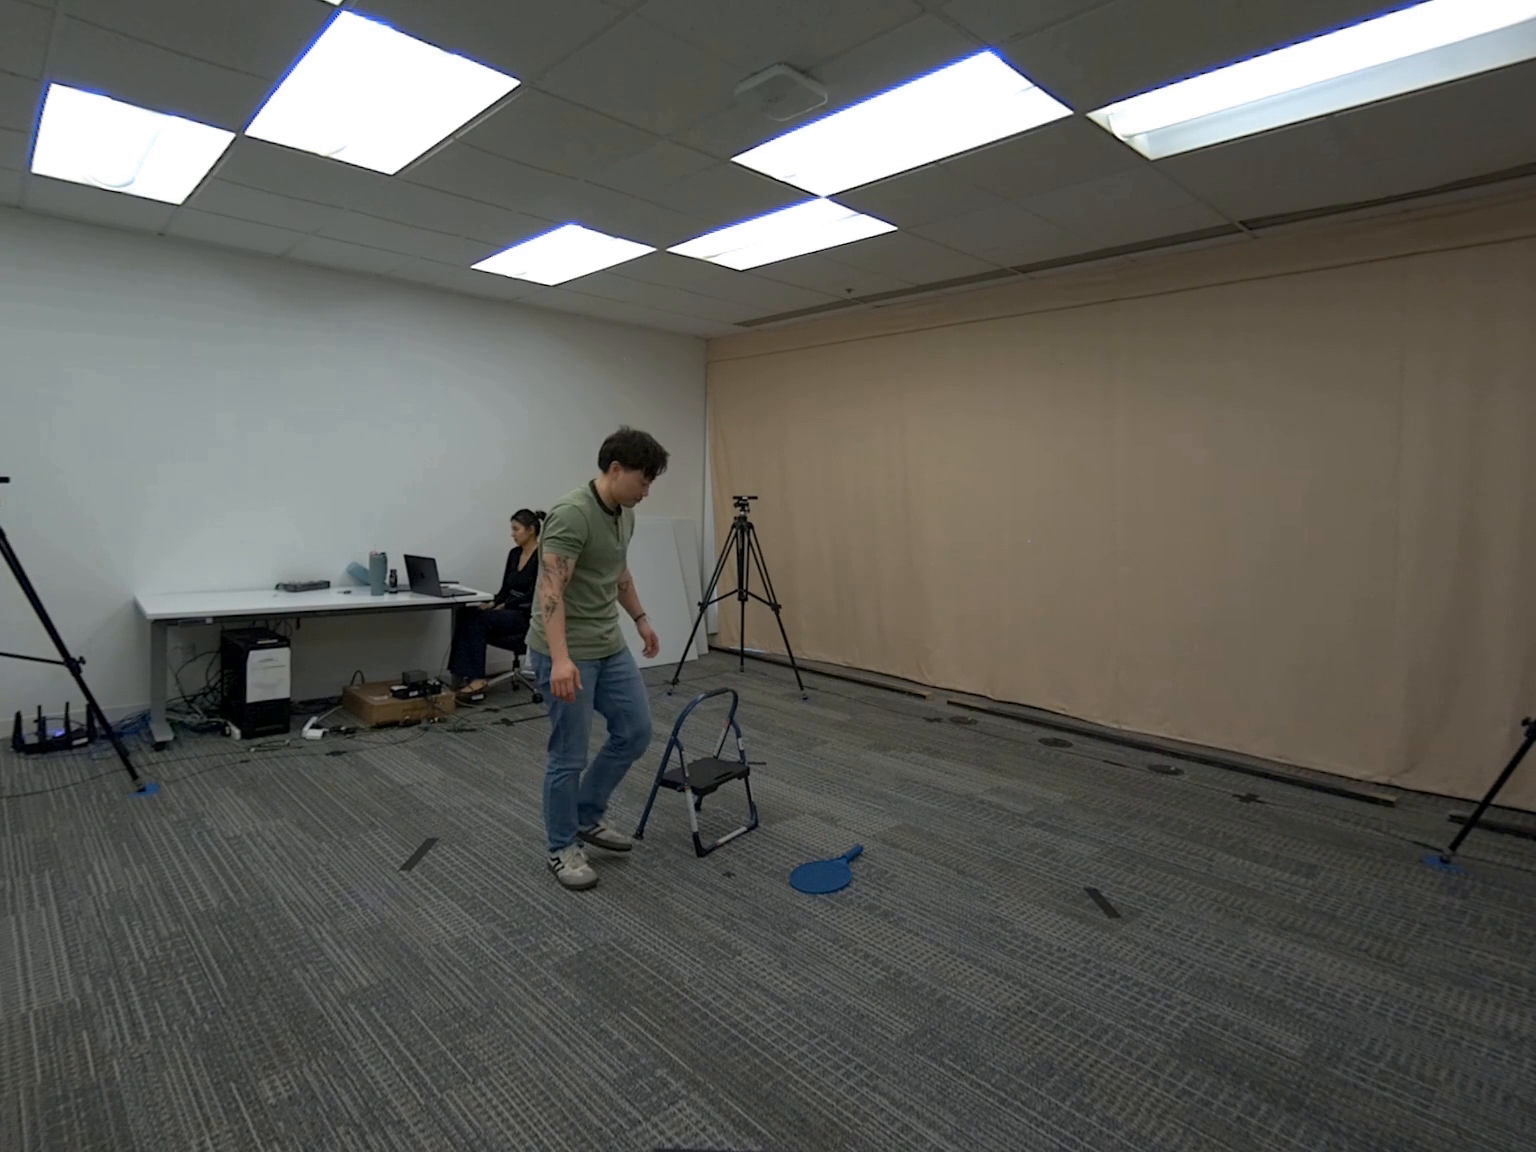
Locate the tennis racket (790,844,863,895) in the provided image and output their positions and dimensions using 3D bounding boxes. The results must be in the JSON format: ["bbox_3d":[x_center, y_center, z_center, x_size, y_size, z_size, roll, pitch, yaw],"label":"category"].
[{"bbox_3d":[0.232,1.091,3.143,0.219,0.031,0.424,6,8,36],"label":"tennis racket"}]
